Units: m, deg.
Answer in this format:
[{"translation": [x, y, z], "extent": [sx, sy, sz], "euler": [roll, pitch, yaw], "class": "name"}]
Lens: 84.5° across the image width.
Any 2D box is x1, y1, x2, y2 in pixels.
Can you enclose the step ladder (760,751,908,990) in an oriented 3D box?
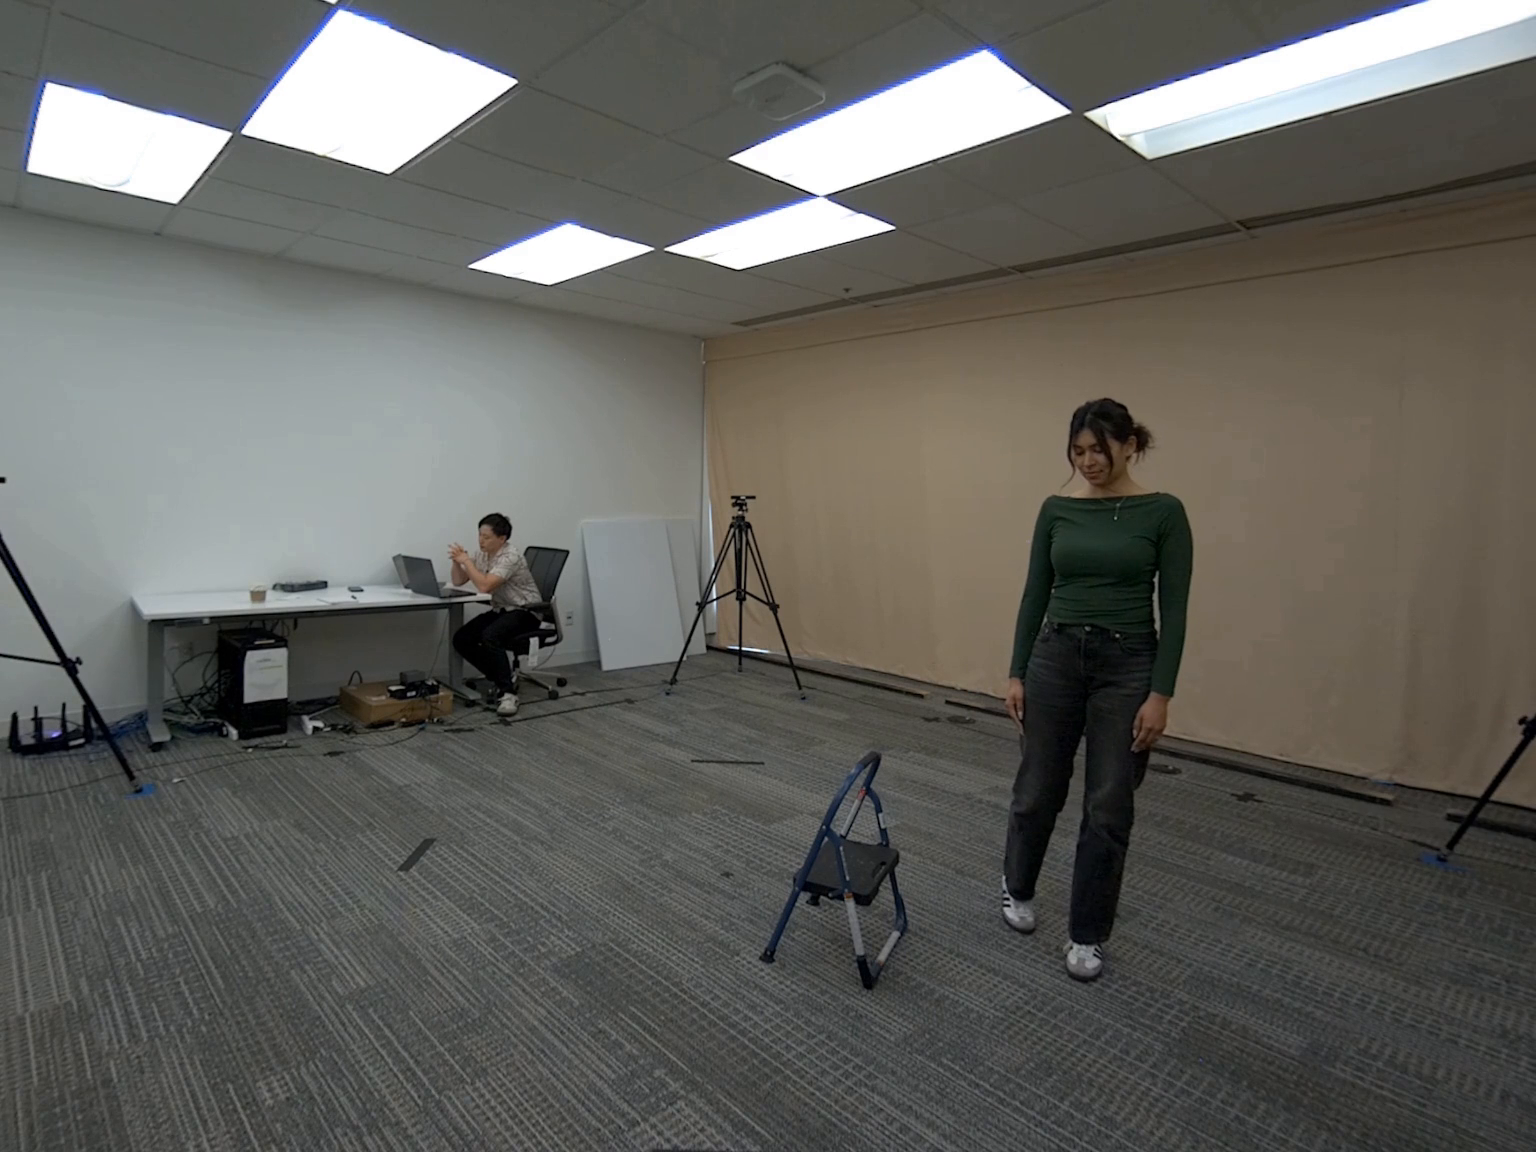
[{"translation": [0.225, 0.850, 2.625], "extent": [0.356, 0.604, 0.423], "euler": [4, 5, 24], "class": "step ladder"}]
